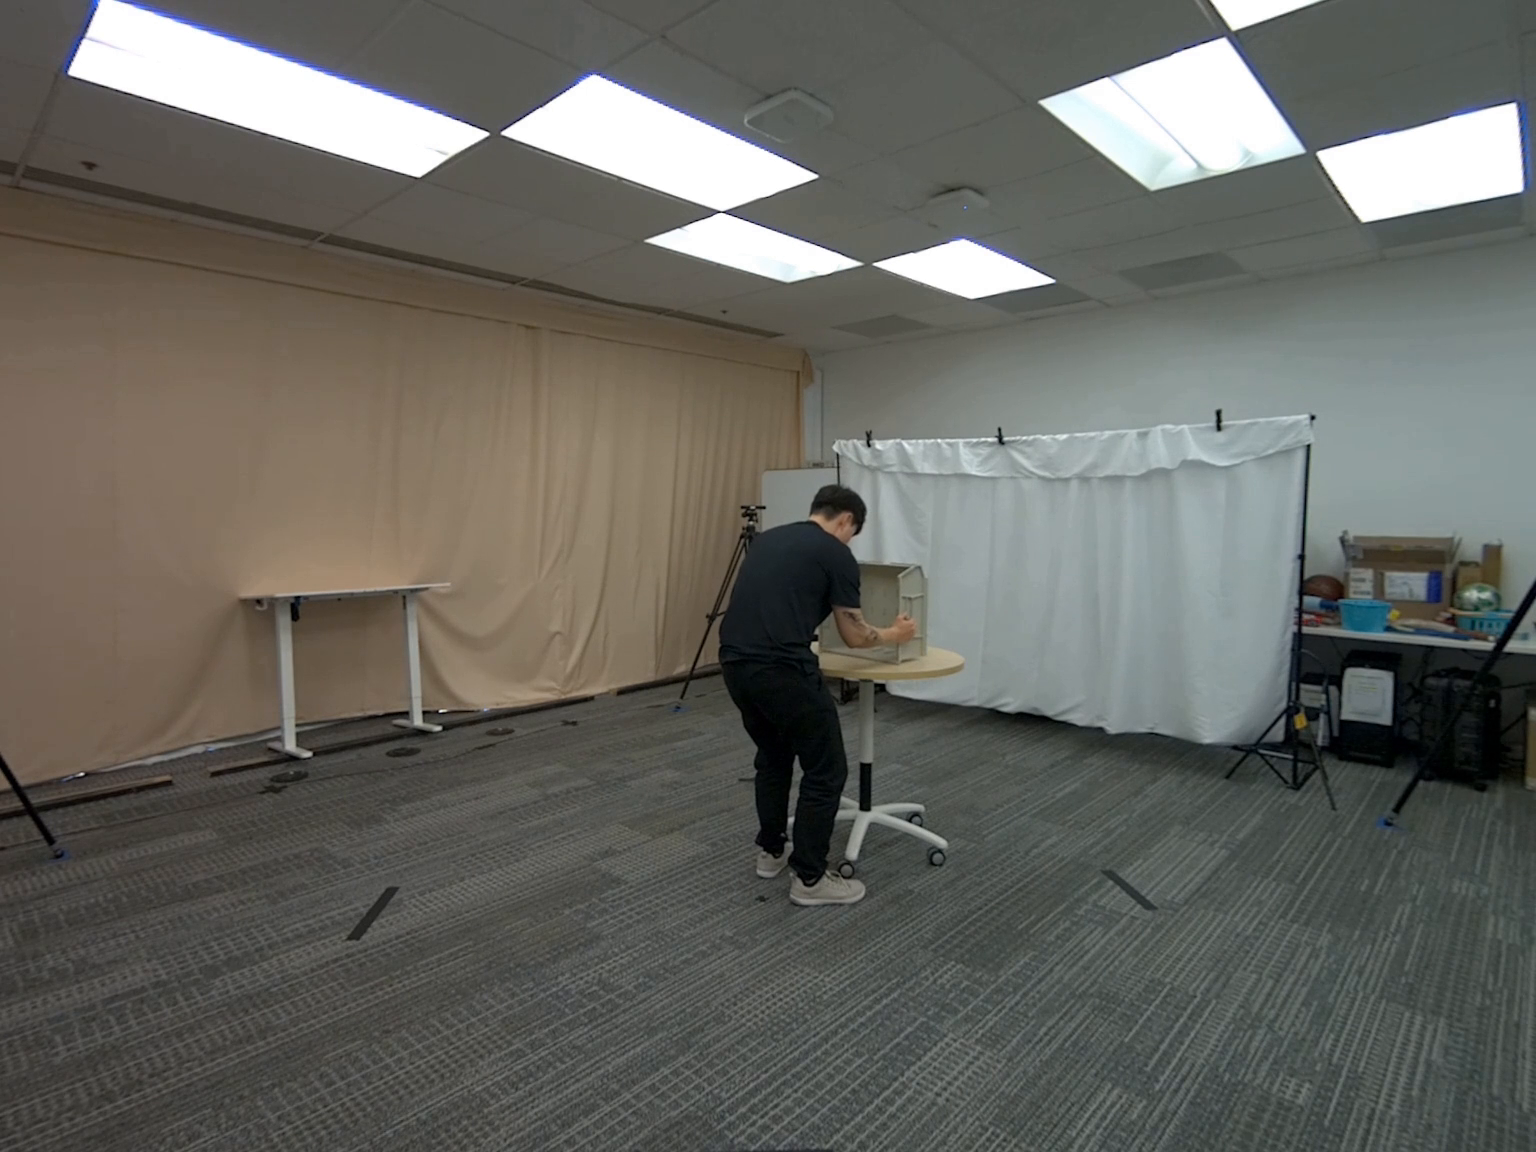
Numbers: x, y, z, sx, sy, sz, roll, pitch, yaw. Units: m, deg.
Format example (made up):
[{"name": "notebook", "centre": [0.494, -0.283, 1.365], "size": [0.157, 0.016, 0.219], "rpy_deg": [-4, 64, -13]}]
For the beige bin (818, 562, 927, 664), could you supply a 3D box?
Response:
[{"name": "beige bin", "centre": [0.418, 0.129, 3.412], "size": [0.183, 0.377, 0.436], "rpy_deg": [0, 2, -40]}]
